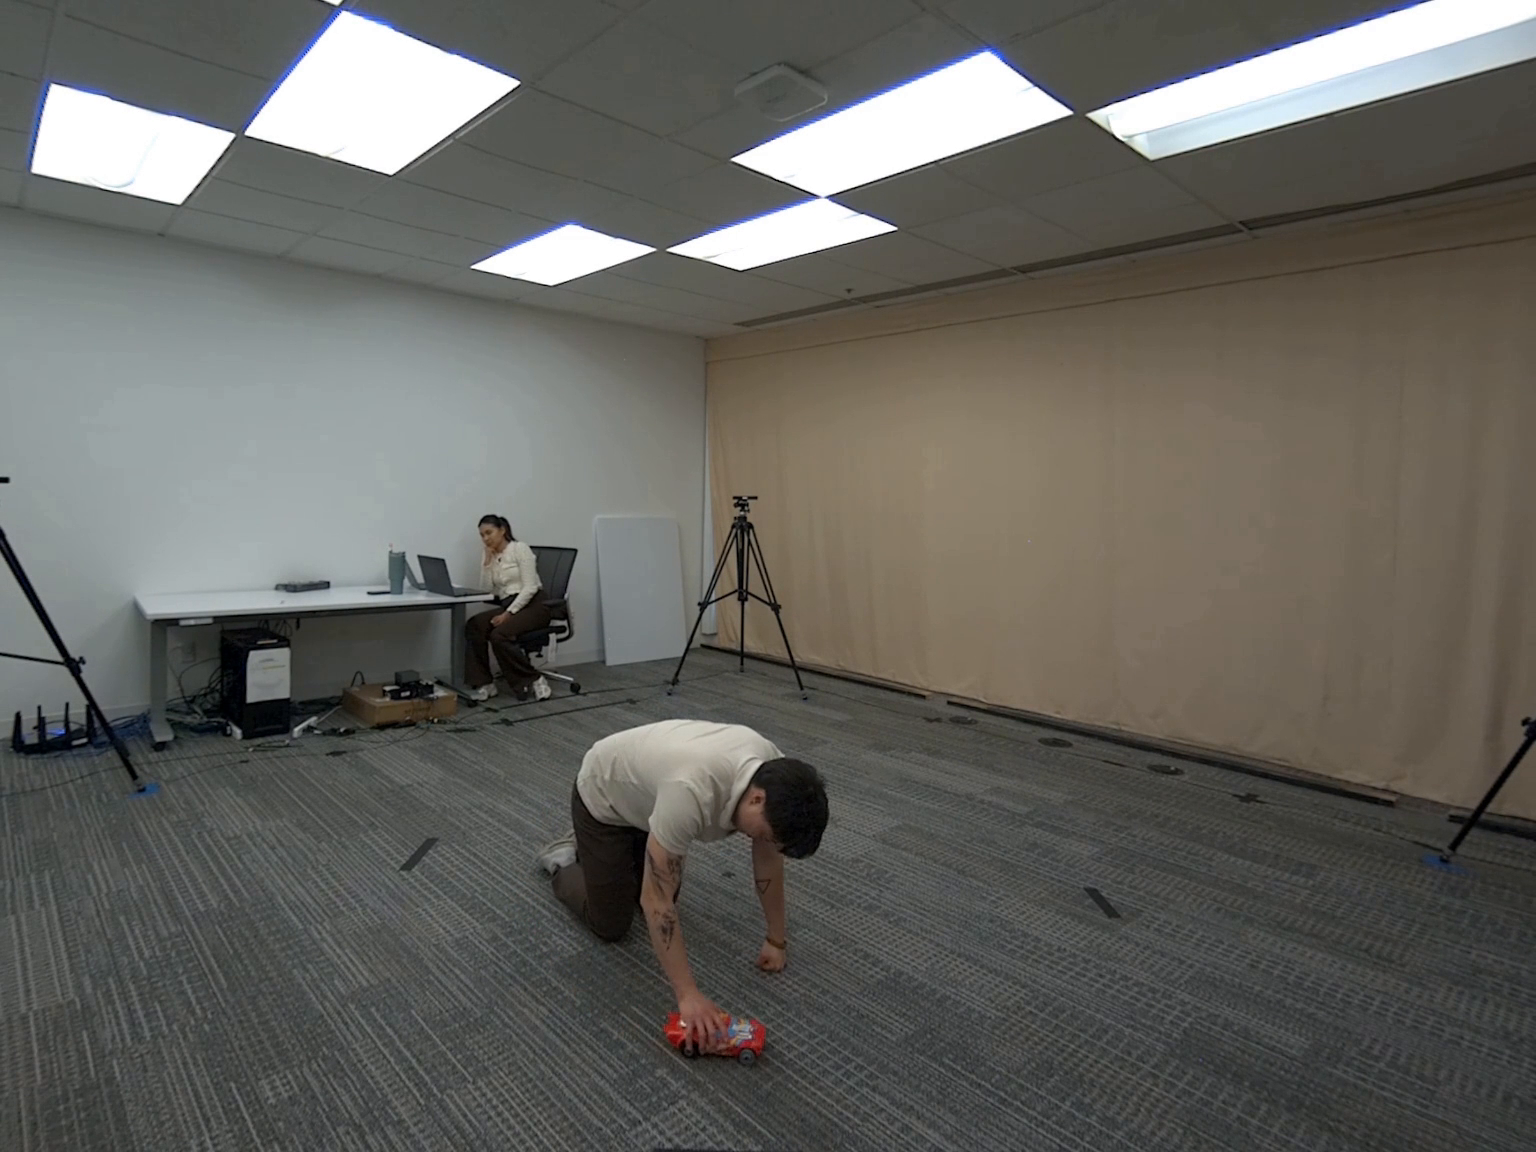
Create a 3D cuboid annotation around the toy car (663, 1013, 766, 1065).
[{"bbox_3d":[-0.142,1.164,2.123,0.257,0.083,0.129,11,7,10],"label":"toy car"}]
